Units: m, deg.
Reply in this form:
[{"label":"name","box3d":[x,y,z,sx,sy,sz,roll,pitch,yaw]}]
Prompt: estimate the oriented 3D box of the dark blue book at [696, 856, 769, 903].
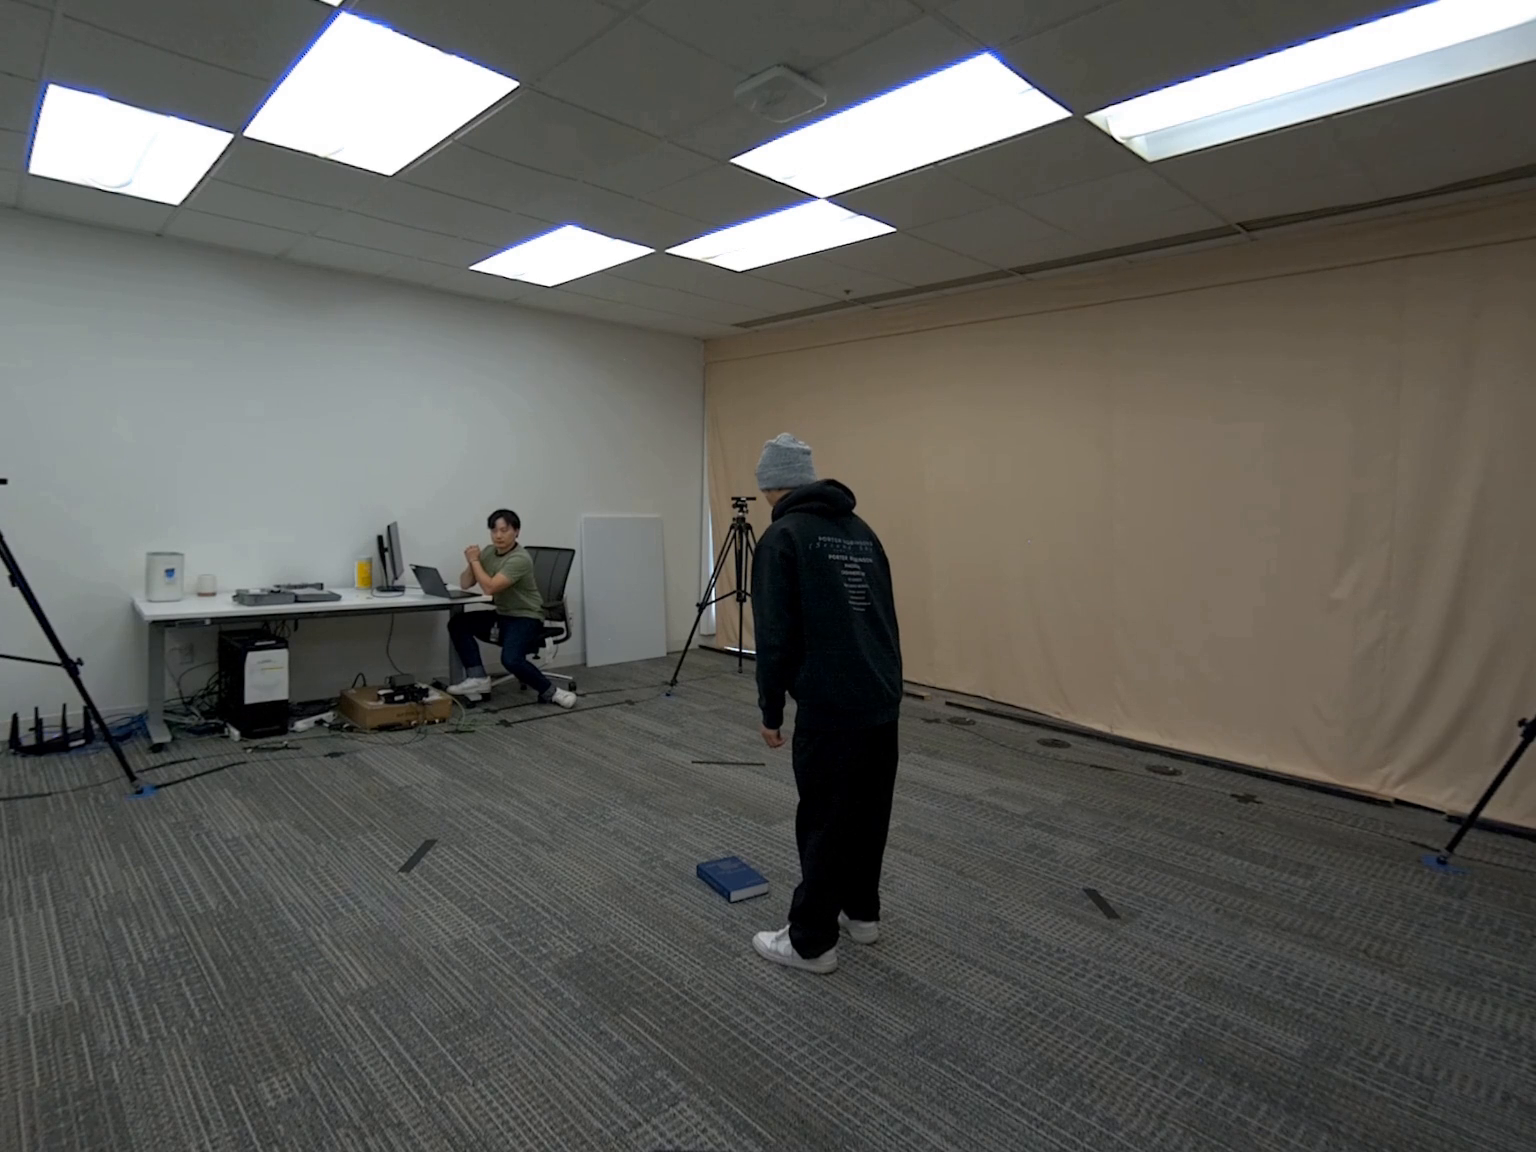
[{"label":"dark blue book","box3d":[-0.135,1.088,3.032,0.160,0.045,0.251,-1,6,-33]}]
